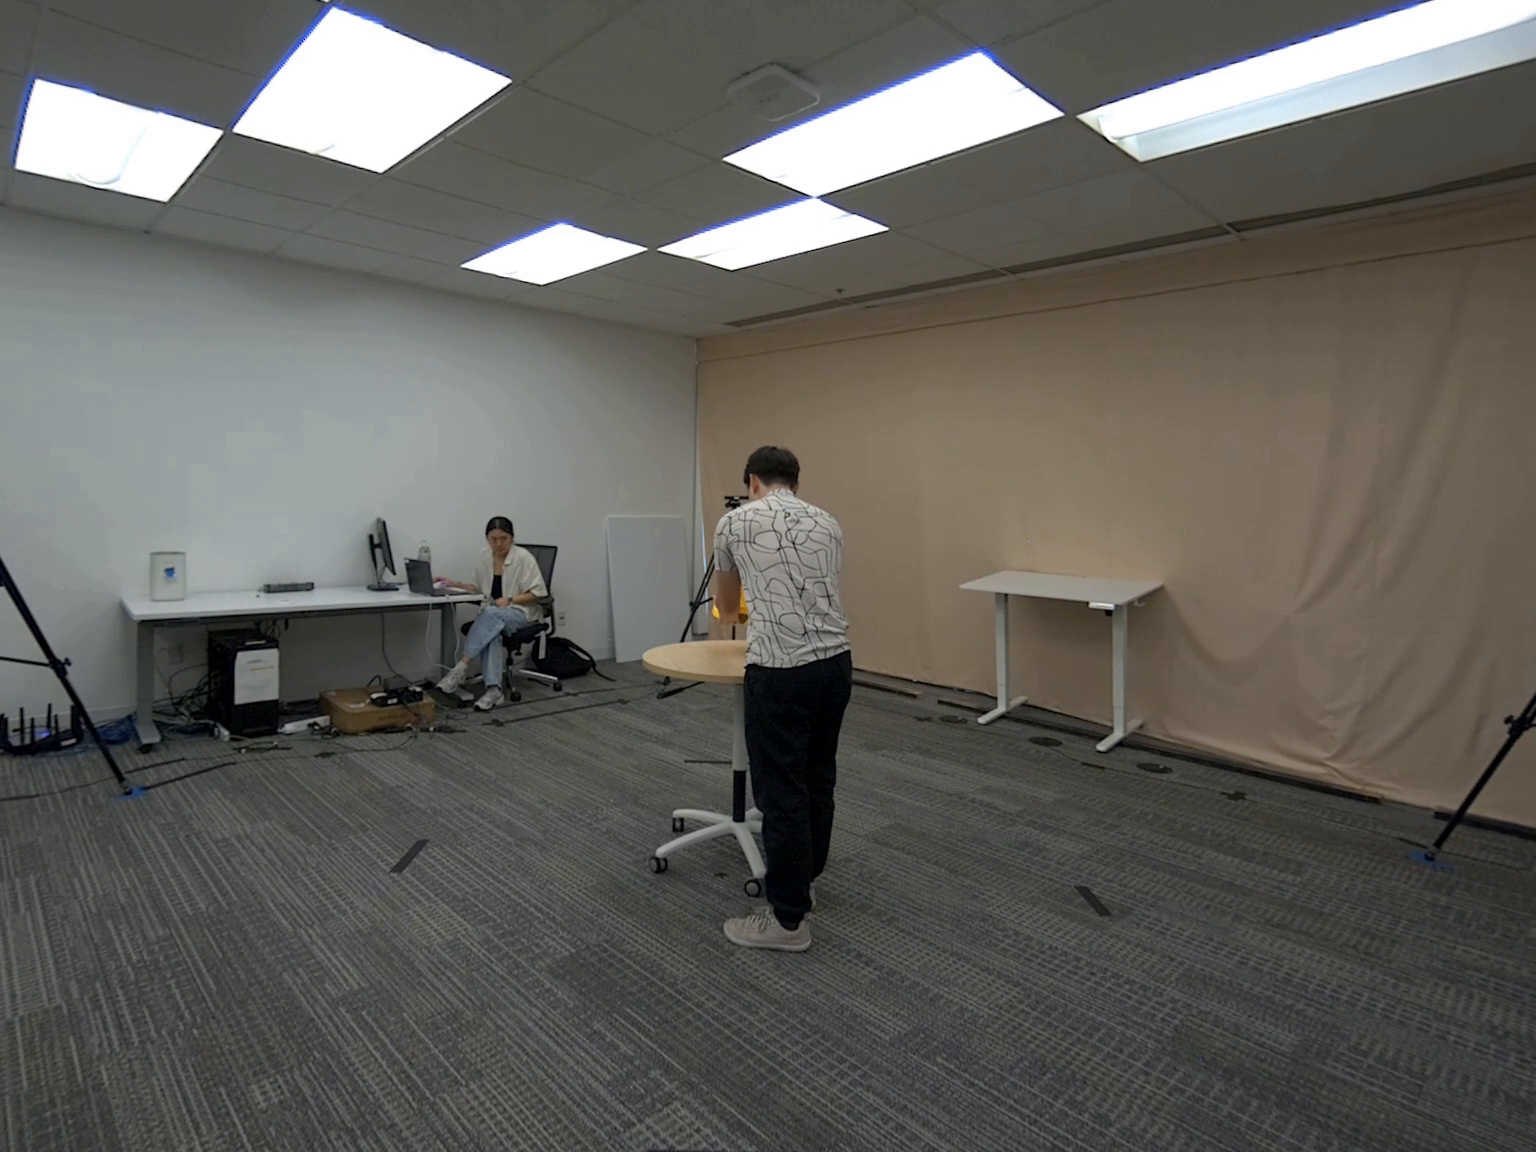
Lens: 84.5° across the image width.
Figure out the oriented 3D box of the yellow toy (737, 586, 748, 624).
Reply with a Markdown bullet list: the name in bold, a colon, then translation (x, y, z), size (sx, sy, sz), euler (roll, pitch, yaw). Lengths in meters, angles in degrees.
- **yellow toy**: translation (-0.101, 0.060, 3.355), size (0.203, 0.229, 0.196), euler (11, 15, -9)
